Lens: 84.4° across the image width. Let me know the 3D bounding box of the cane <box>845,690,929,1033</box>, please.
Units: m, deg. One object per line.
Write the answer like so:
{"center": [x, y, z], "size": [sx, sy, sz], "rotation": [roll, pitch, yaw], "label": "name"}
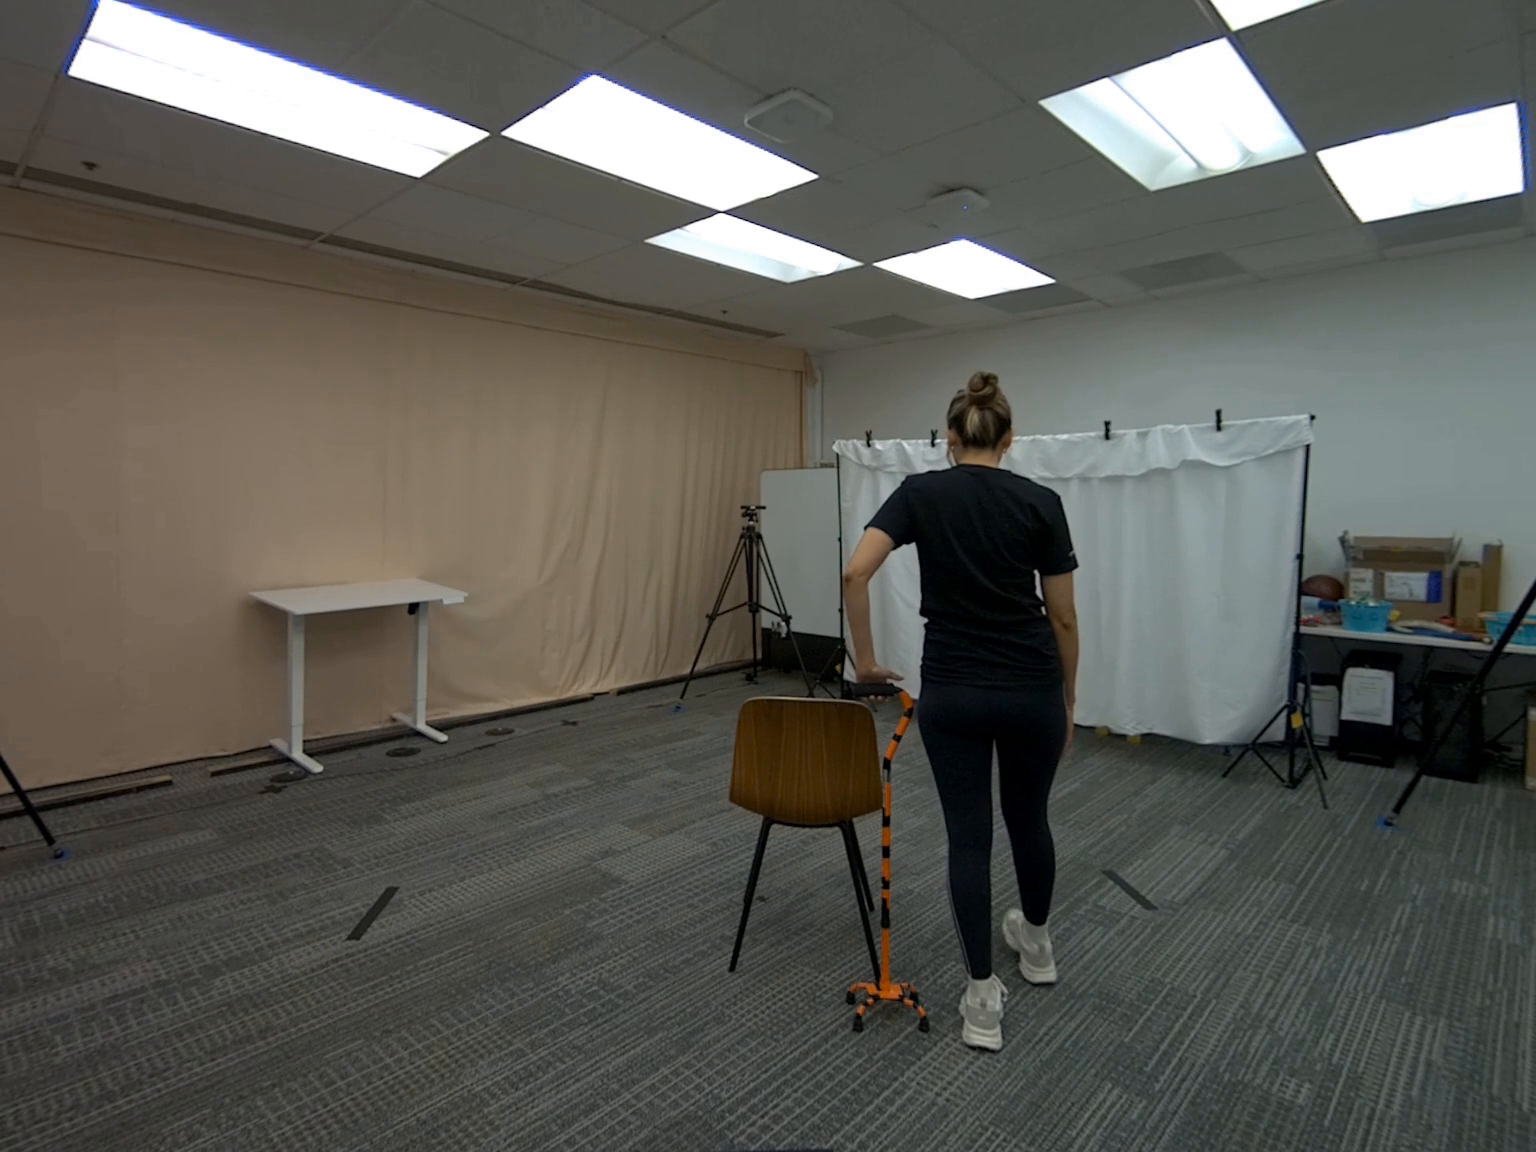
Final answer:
{"center": [0.323, 0.741, 2.291], "size": [0.206, 0.907, 0.152], "rotation": [-1, 2, -3], "label": "cane"}
